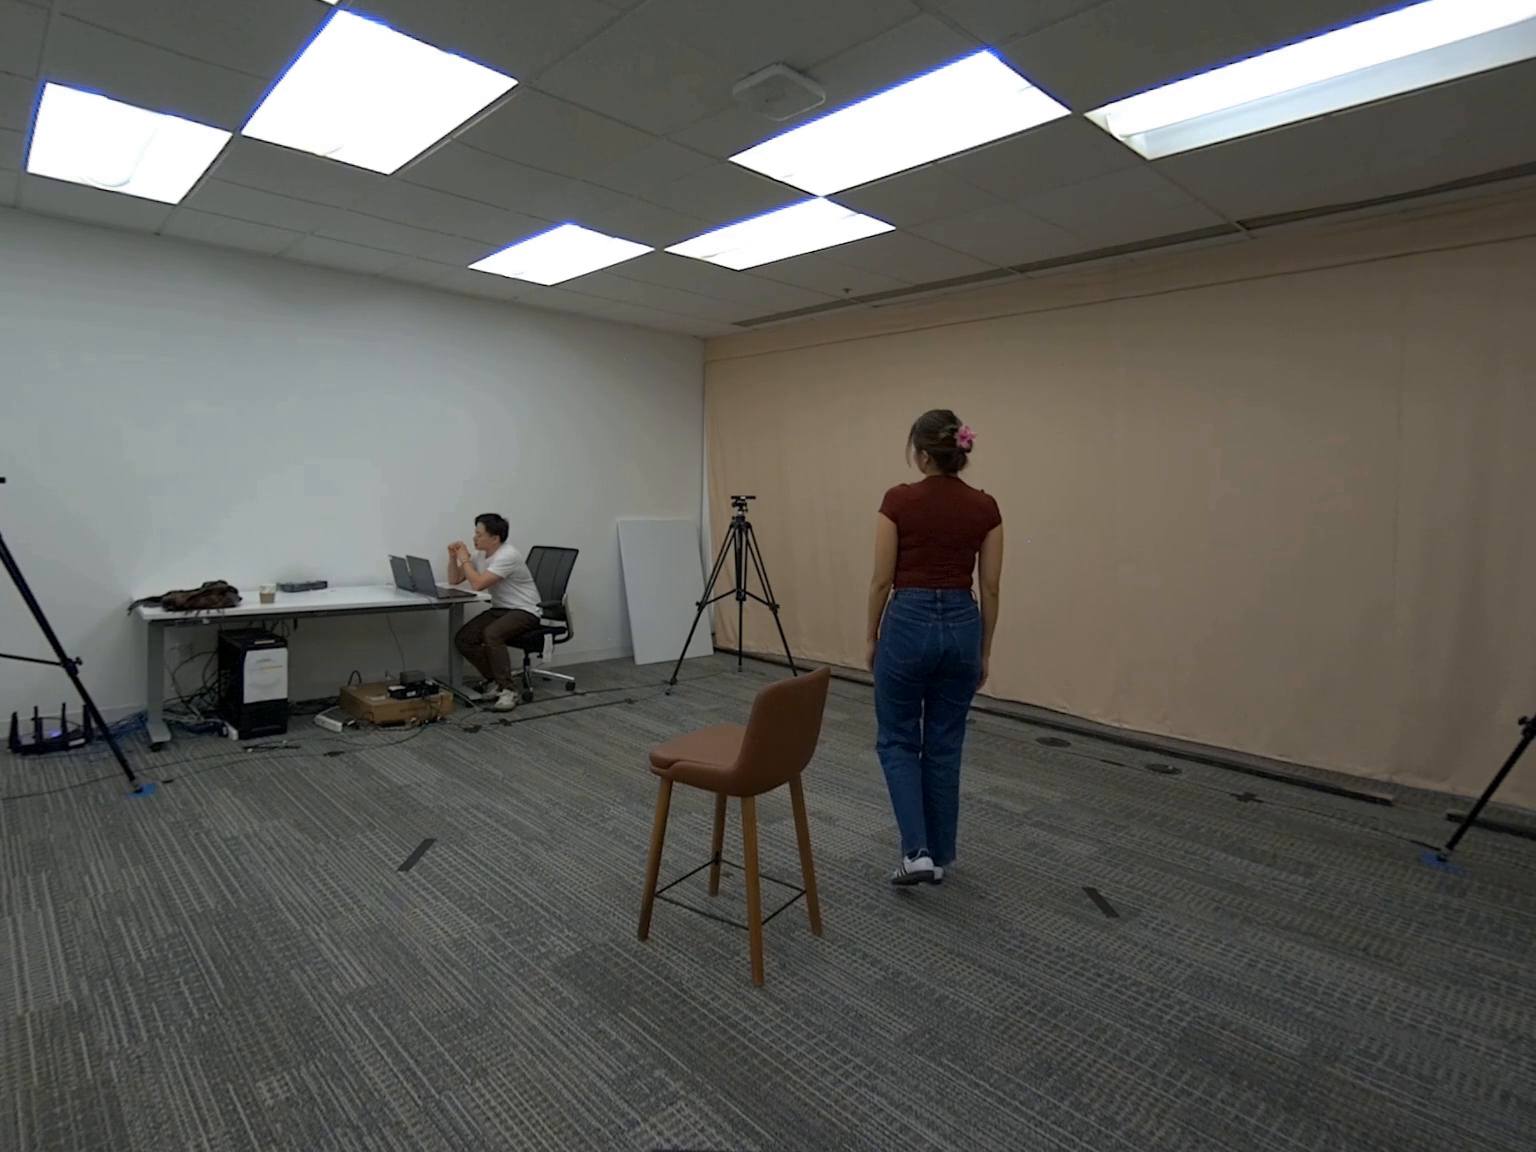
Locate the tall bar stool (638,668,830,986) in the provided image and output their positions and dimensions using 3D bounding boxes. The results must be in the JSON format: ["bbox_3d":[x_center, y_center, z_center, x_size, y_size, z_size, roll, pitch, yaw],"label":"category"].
[{"bbox_3d":[-0.103,0.711,2.640,0.479,0.886,0.447,6,6,34],"label":"tall bar stool"}]
